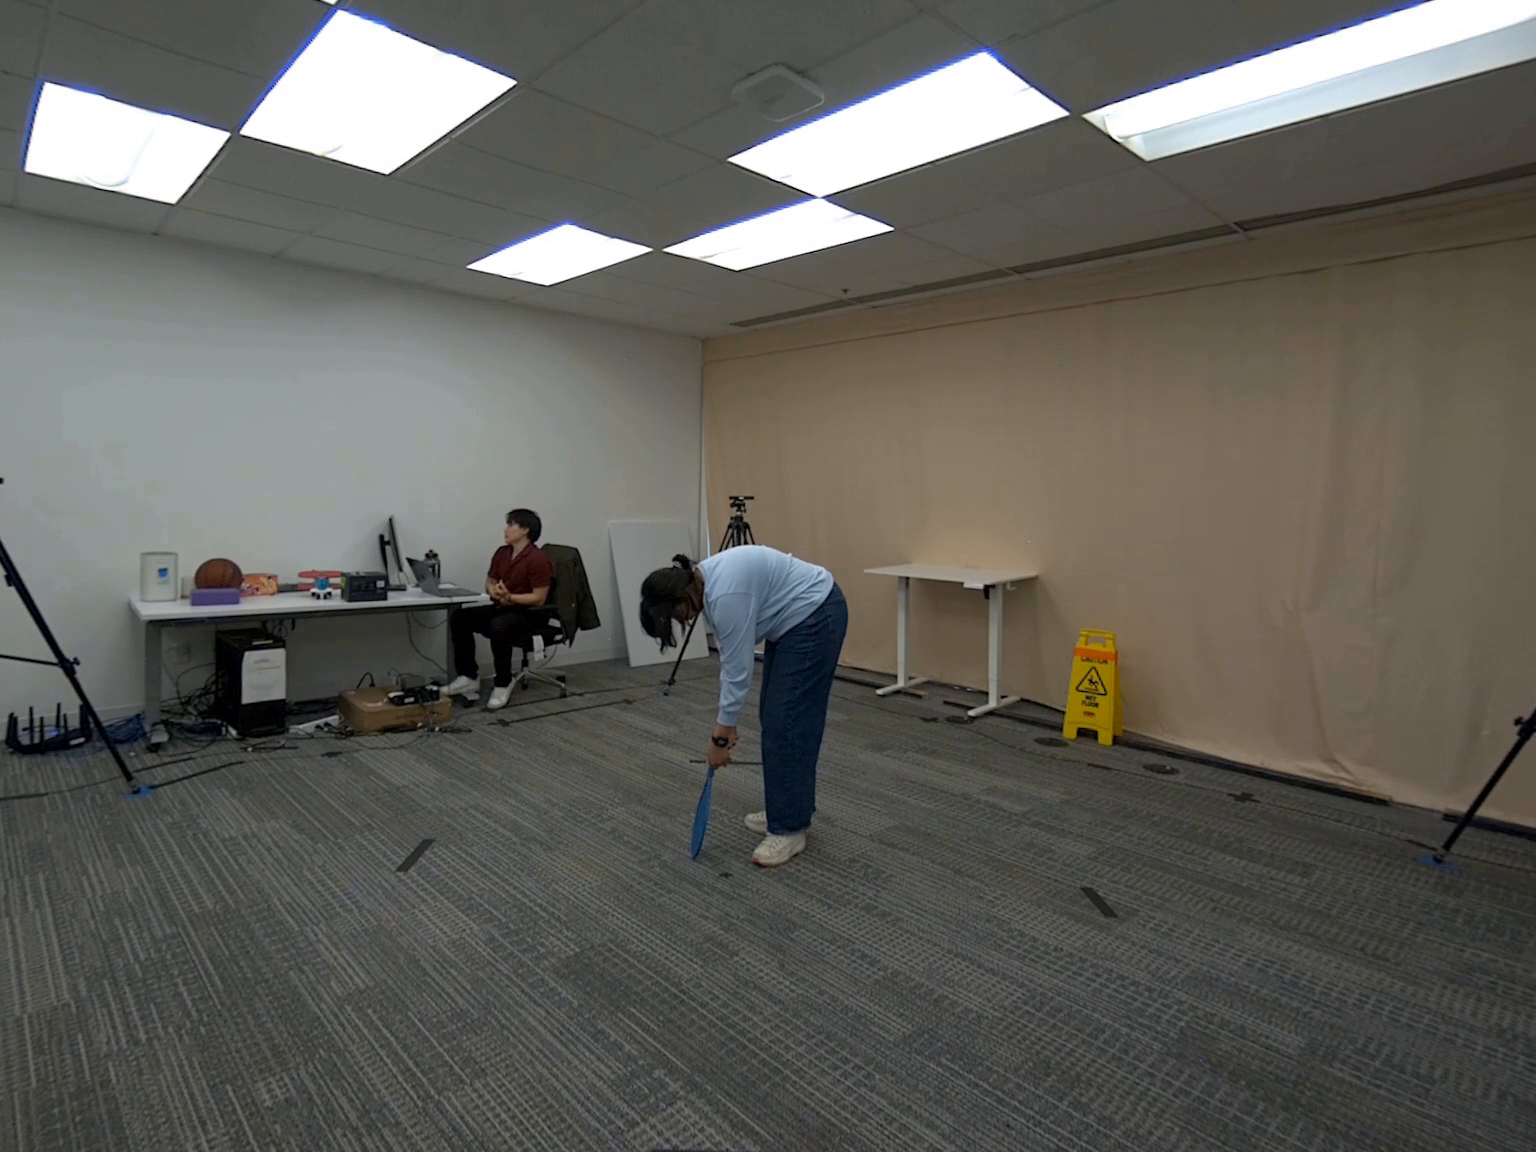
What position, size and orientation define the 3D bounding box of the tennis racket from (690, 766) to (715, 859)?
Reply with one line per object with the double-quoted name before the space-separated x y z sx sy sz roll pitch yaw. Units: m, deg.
"tennis racket" -0.231 0.890 3.268 0.031 0.434 0.214 12 -6 -6
